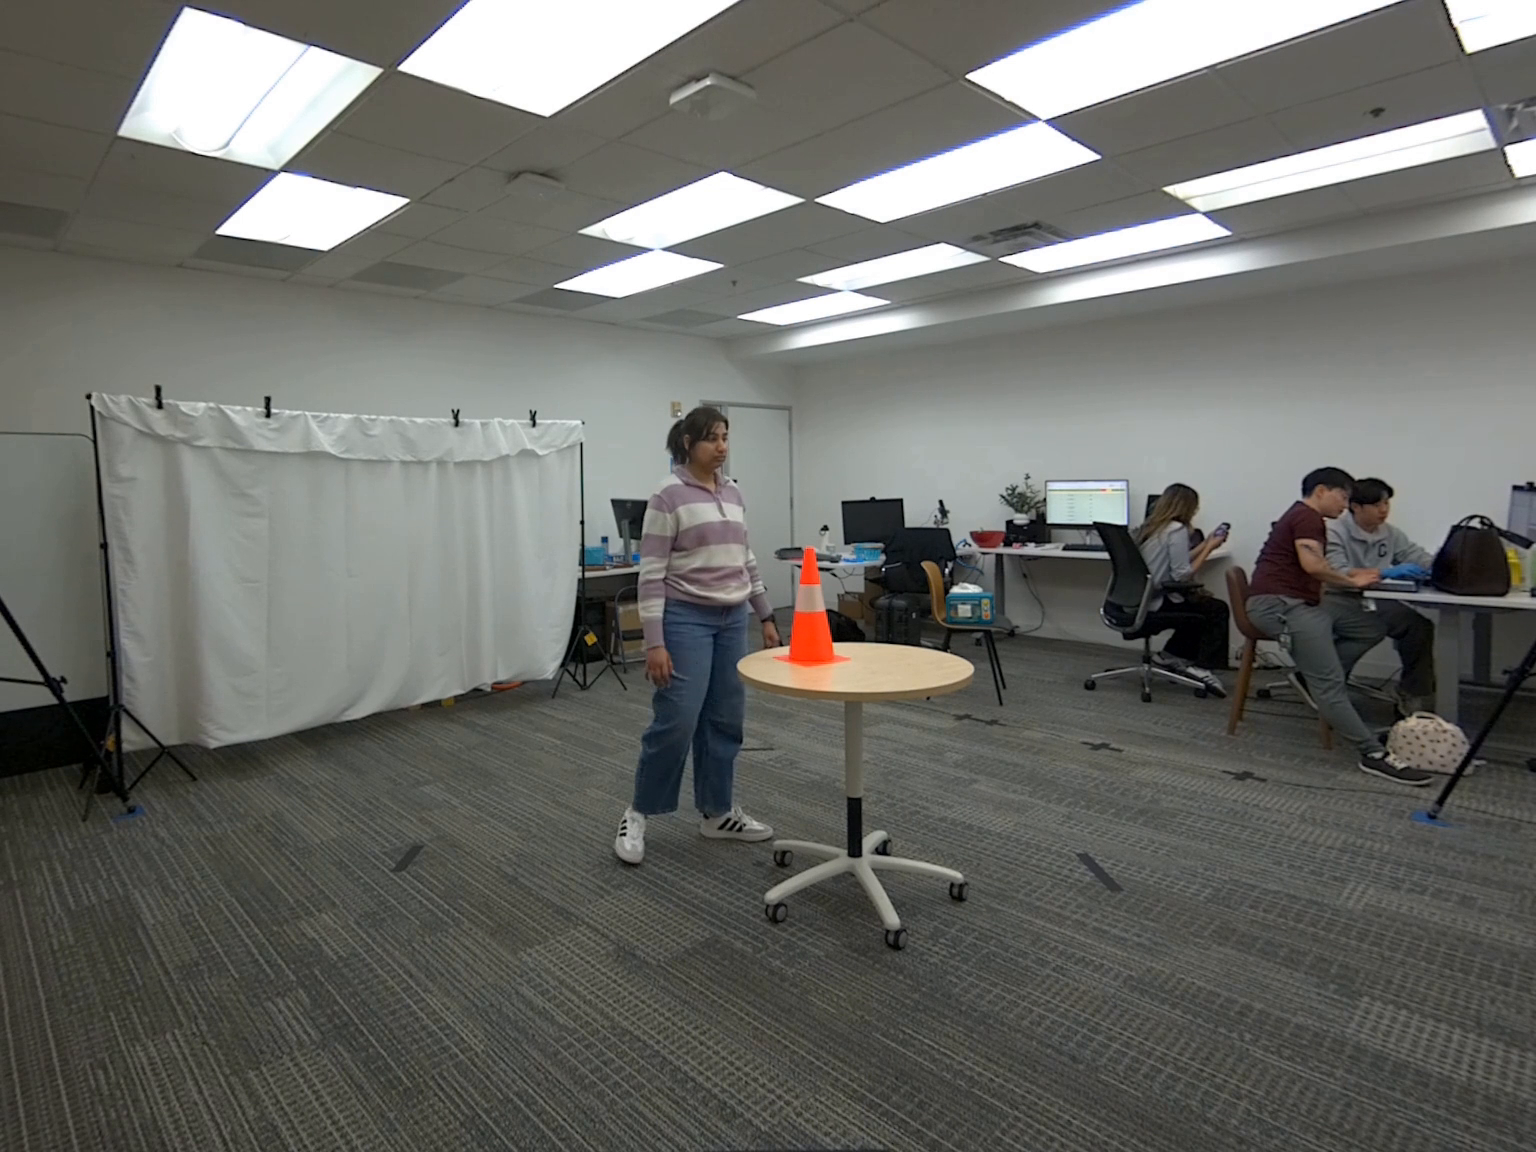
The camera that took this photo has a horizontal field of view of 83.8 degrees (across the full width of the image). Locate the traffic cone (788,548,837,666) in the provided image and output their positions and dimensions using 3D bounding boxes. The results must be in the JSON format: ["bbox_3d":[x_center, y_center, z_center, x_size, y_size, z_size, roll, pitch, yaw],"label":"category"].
[{"bbox_3d":[0.146,0.097,2.899,0.199,0.382,0.209,-5,5,-43],"label":"traffic cone"}]
